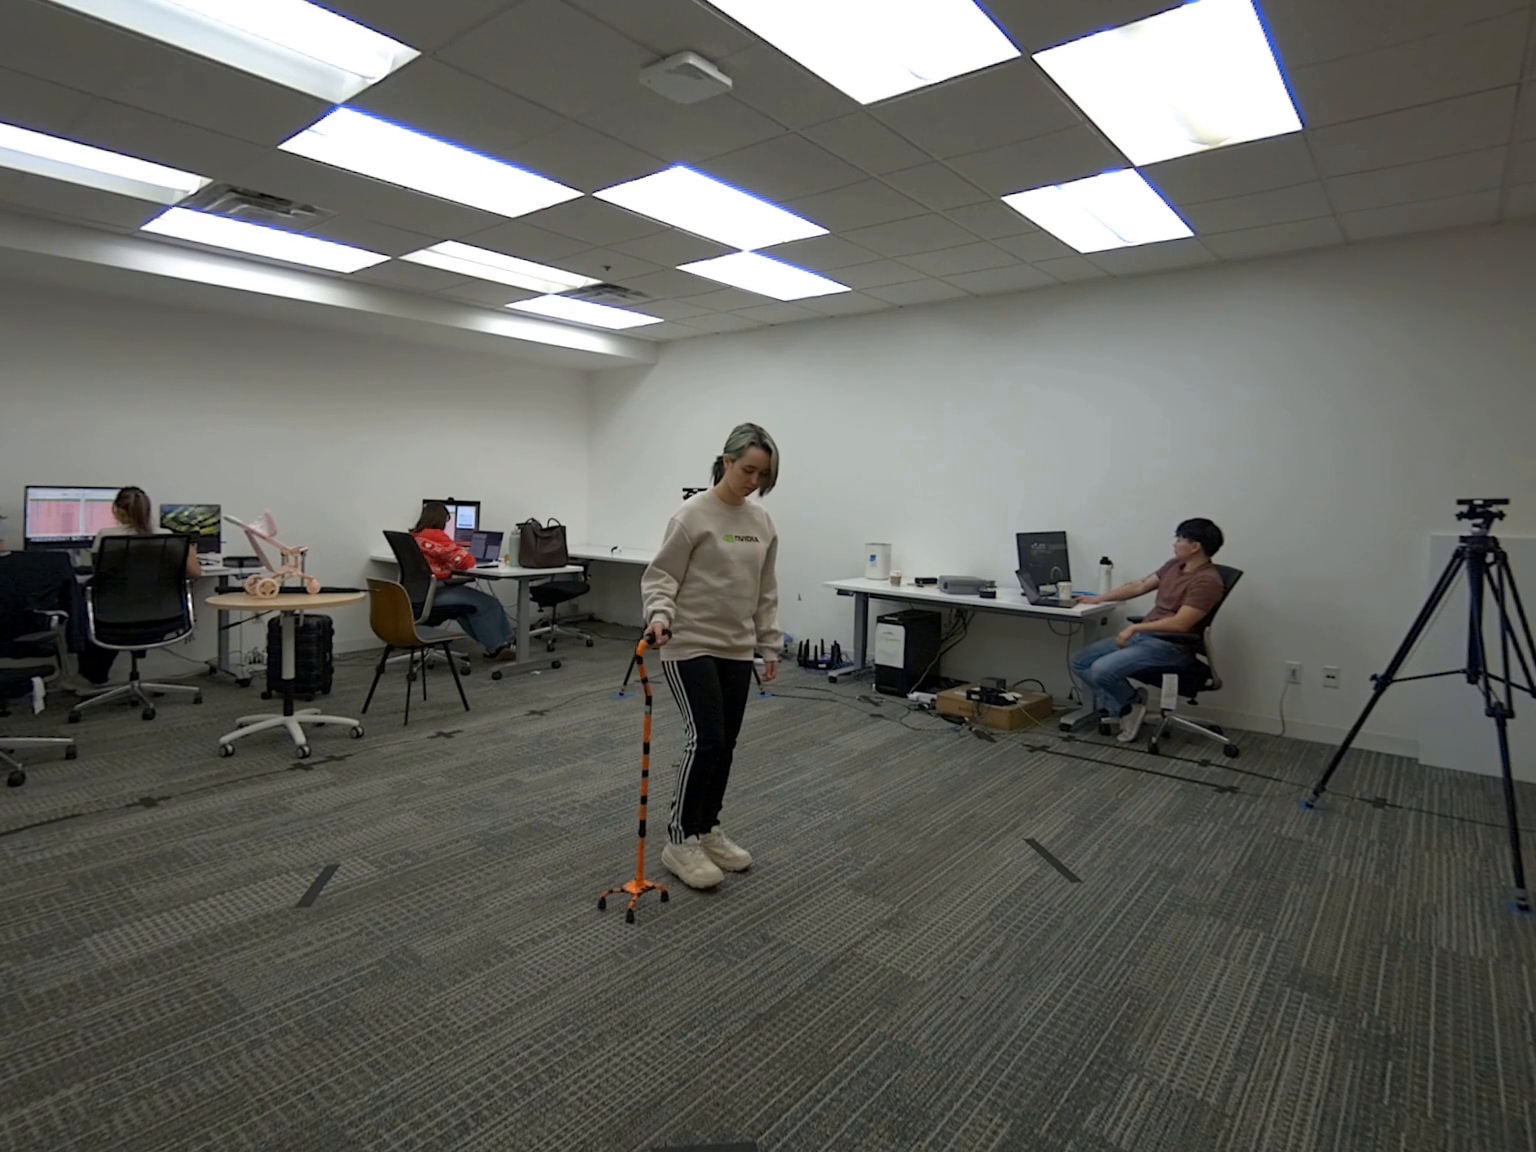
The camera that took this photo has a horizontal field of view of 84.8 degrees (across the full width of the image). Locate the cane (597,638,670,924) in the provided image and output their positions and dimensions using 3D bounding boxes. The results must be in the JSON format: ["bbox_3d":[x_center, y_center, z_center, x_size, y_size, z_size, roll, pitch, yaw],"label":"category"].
[{"bbox_3d":[-0.419,0.636,2.789,0.156,0.904,0.201,7,6,33],"label":"cane"}]
